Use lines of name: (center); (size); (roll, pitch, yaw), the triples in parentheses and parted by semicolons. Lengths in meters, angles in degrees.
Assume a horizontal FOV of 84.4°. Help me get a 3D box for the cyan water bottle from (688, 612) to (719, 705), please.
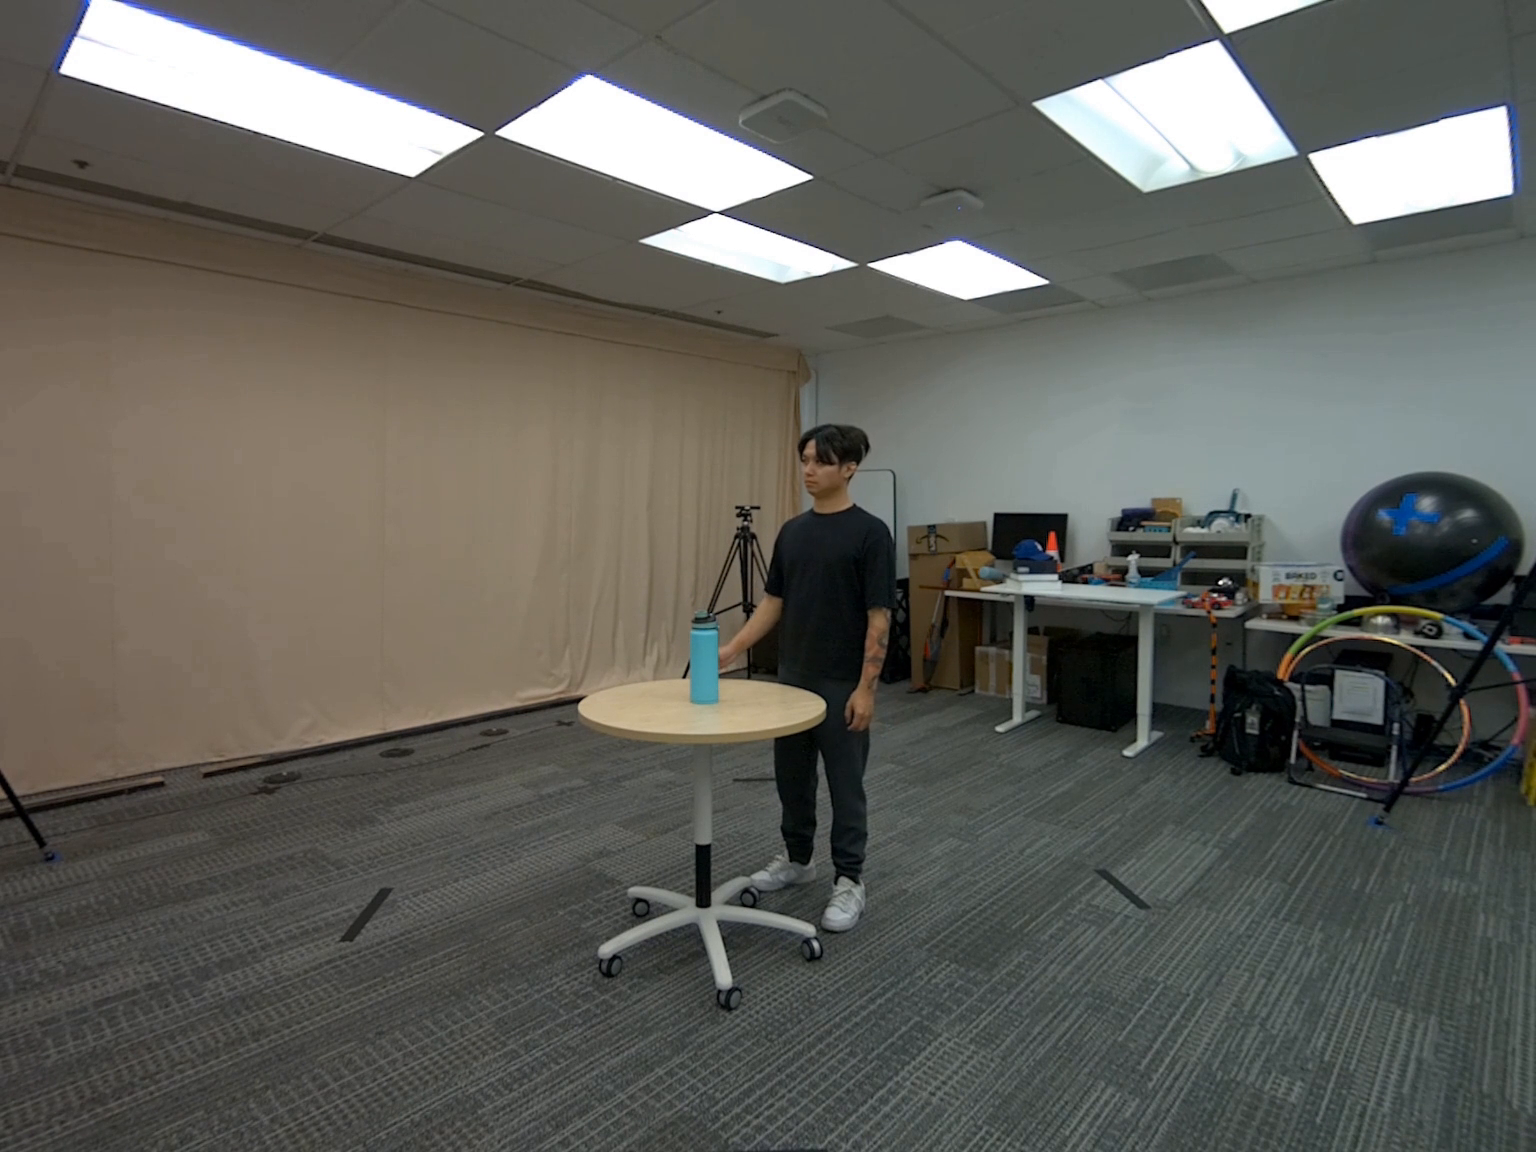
cyan water bottle: (-0.196, 0.255, 2.627); (0.092, 0.283, 0.092); (1, -1, -2)
